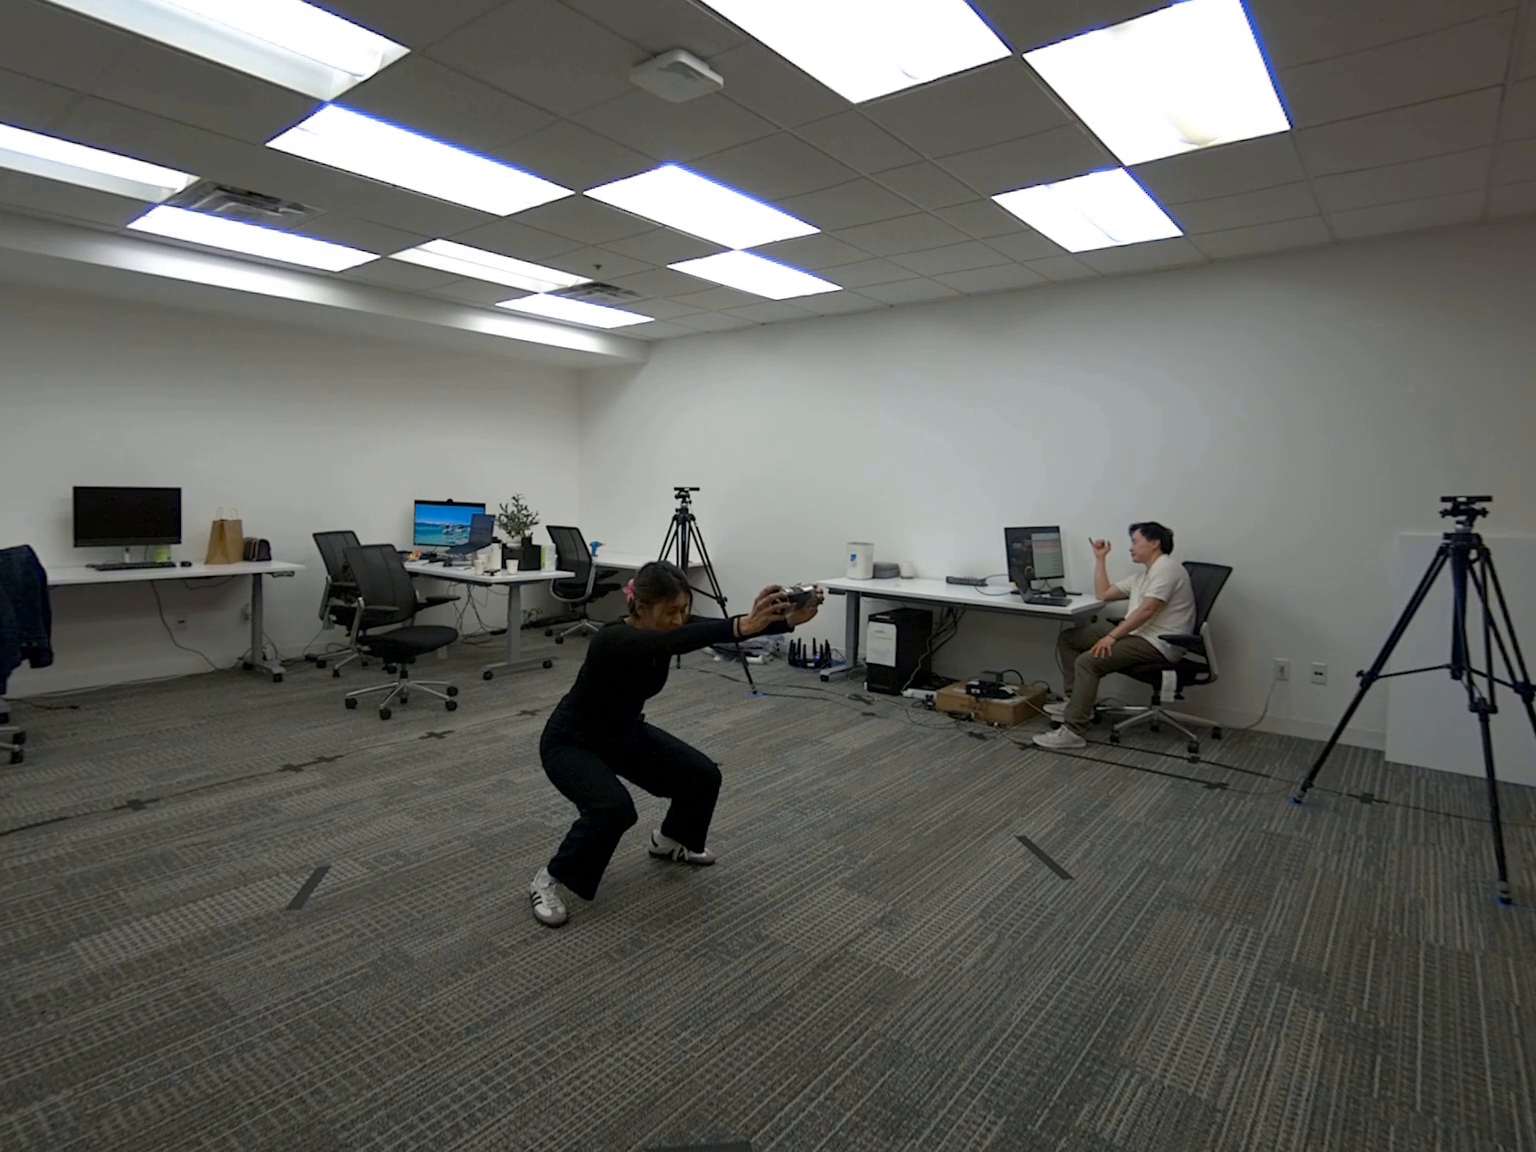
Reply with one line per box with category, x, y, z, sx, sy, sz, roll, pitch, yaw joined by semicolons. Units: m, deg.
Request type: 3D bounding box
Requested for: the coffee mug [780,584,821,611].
coffee mug;0.061;0.073;2.441;0.197;0.087;0.126;-4;13;-41
